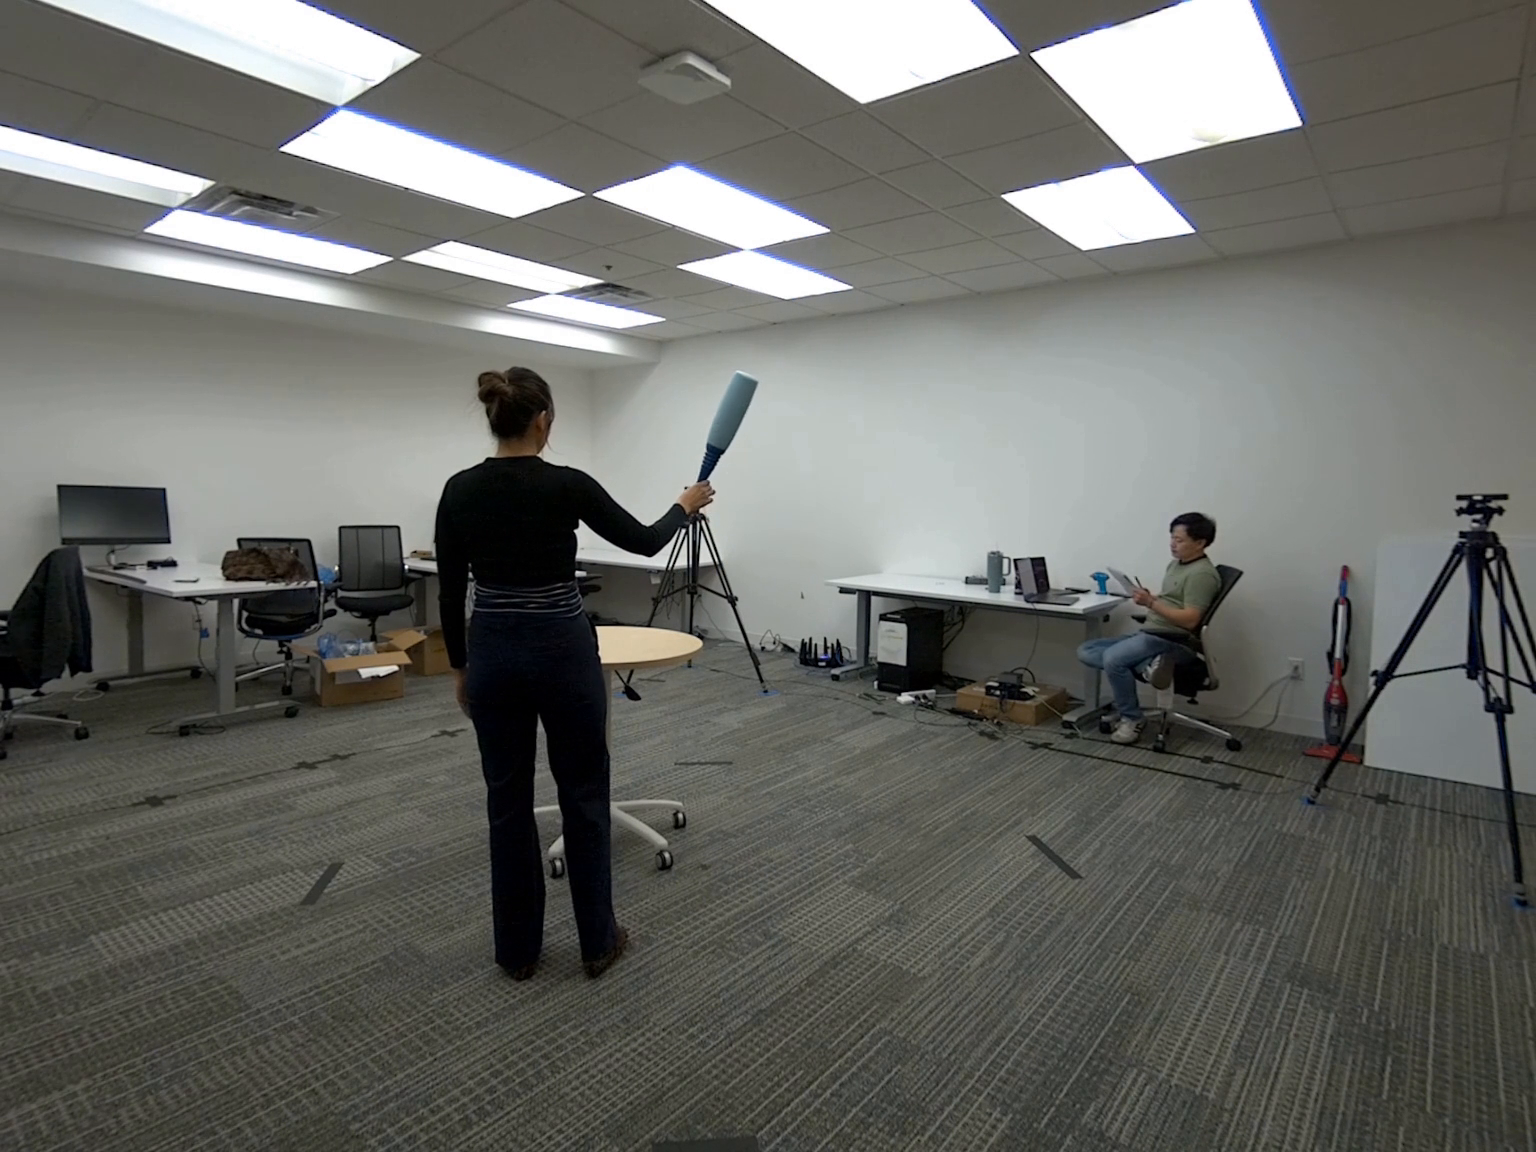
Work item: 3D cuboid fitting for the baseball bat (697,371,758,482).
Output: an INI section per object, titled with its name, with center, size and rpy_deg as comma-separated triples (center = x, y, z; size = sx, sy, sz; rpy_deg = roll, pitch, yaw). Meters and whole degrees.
[baseball bat]
center = -0.187, -0.401, 2.758
size = 0.088, 0.540, 0.090
rpy_deg = 23, 11, -7
